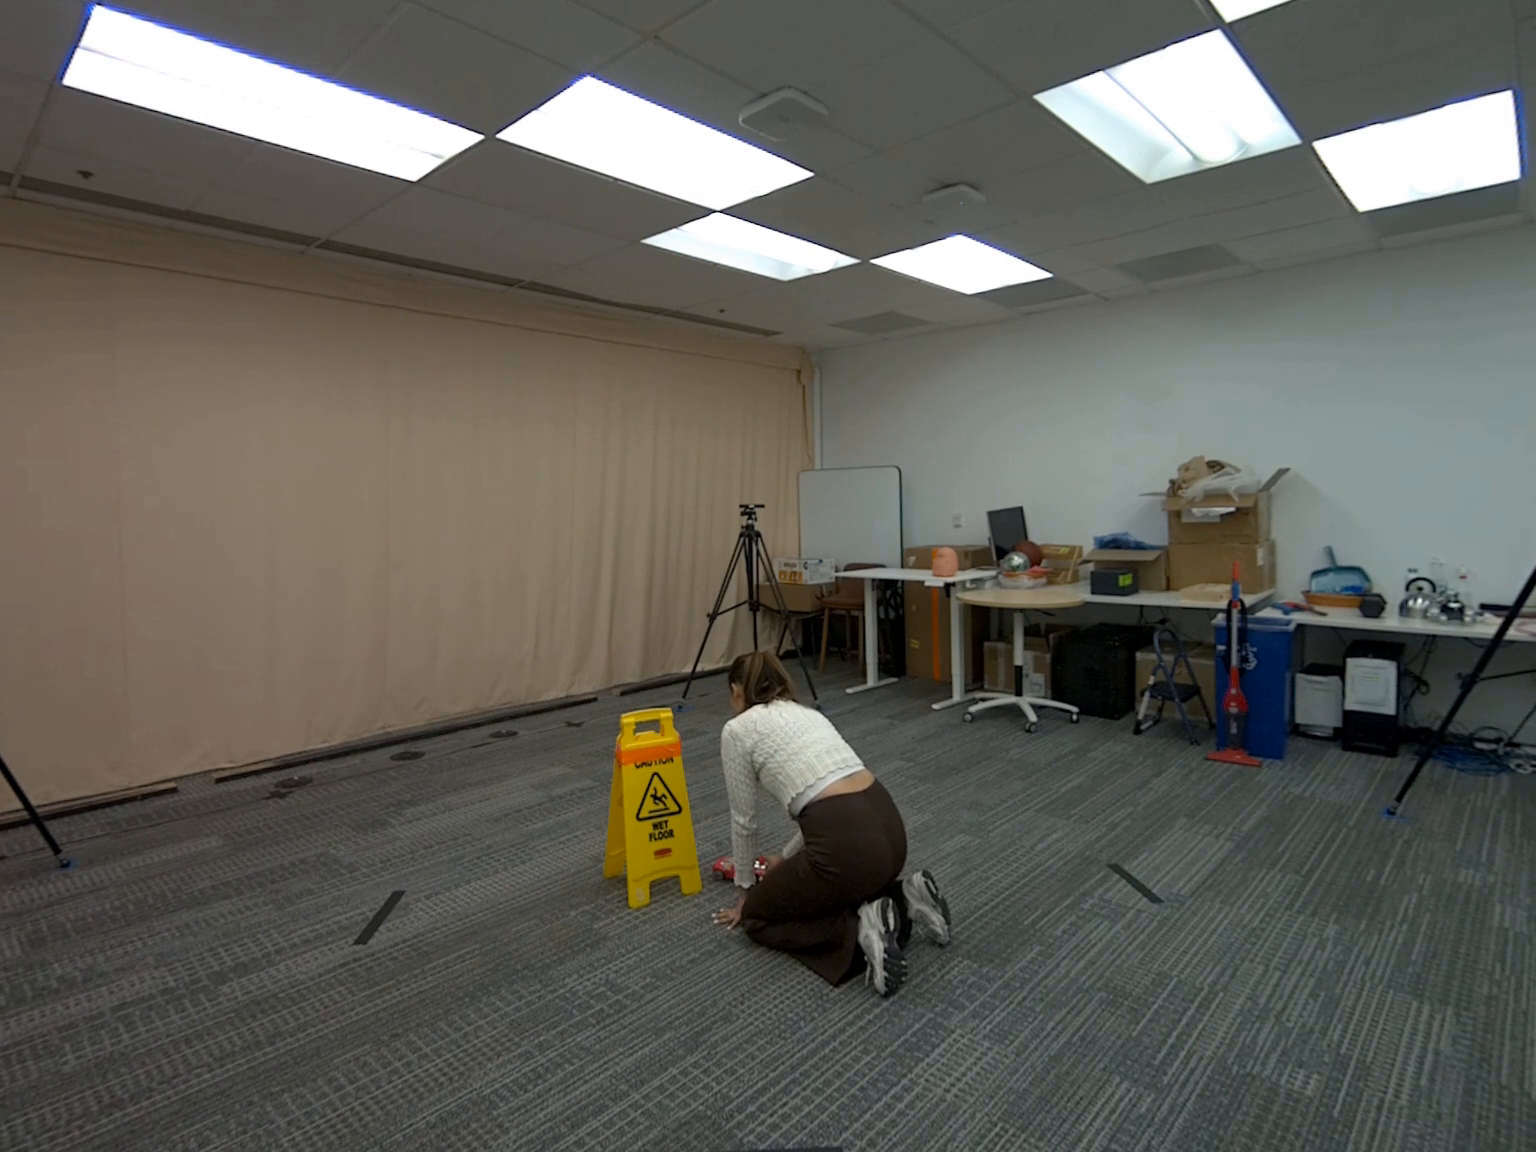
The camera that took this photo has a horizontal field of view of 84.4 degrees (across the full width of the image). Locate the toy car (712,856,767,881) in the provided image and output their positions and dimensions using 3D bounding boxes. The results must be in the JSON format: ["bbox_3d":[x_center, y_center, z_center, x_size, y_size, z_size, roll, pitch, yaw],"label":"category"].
[{"bbox_3d":[-0.063,1.096,3.120,0.259,0.083,0.127,-14,-4,23],"label":"toy car"}]
